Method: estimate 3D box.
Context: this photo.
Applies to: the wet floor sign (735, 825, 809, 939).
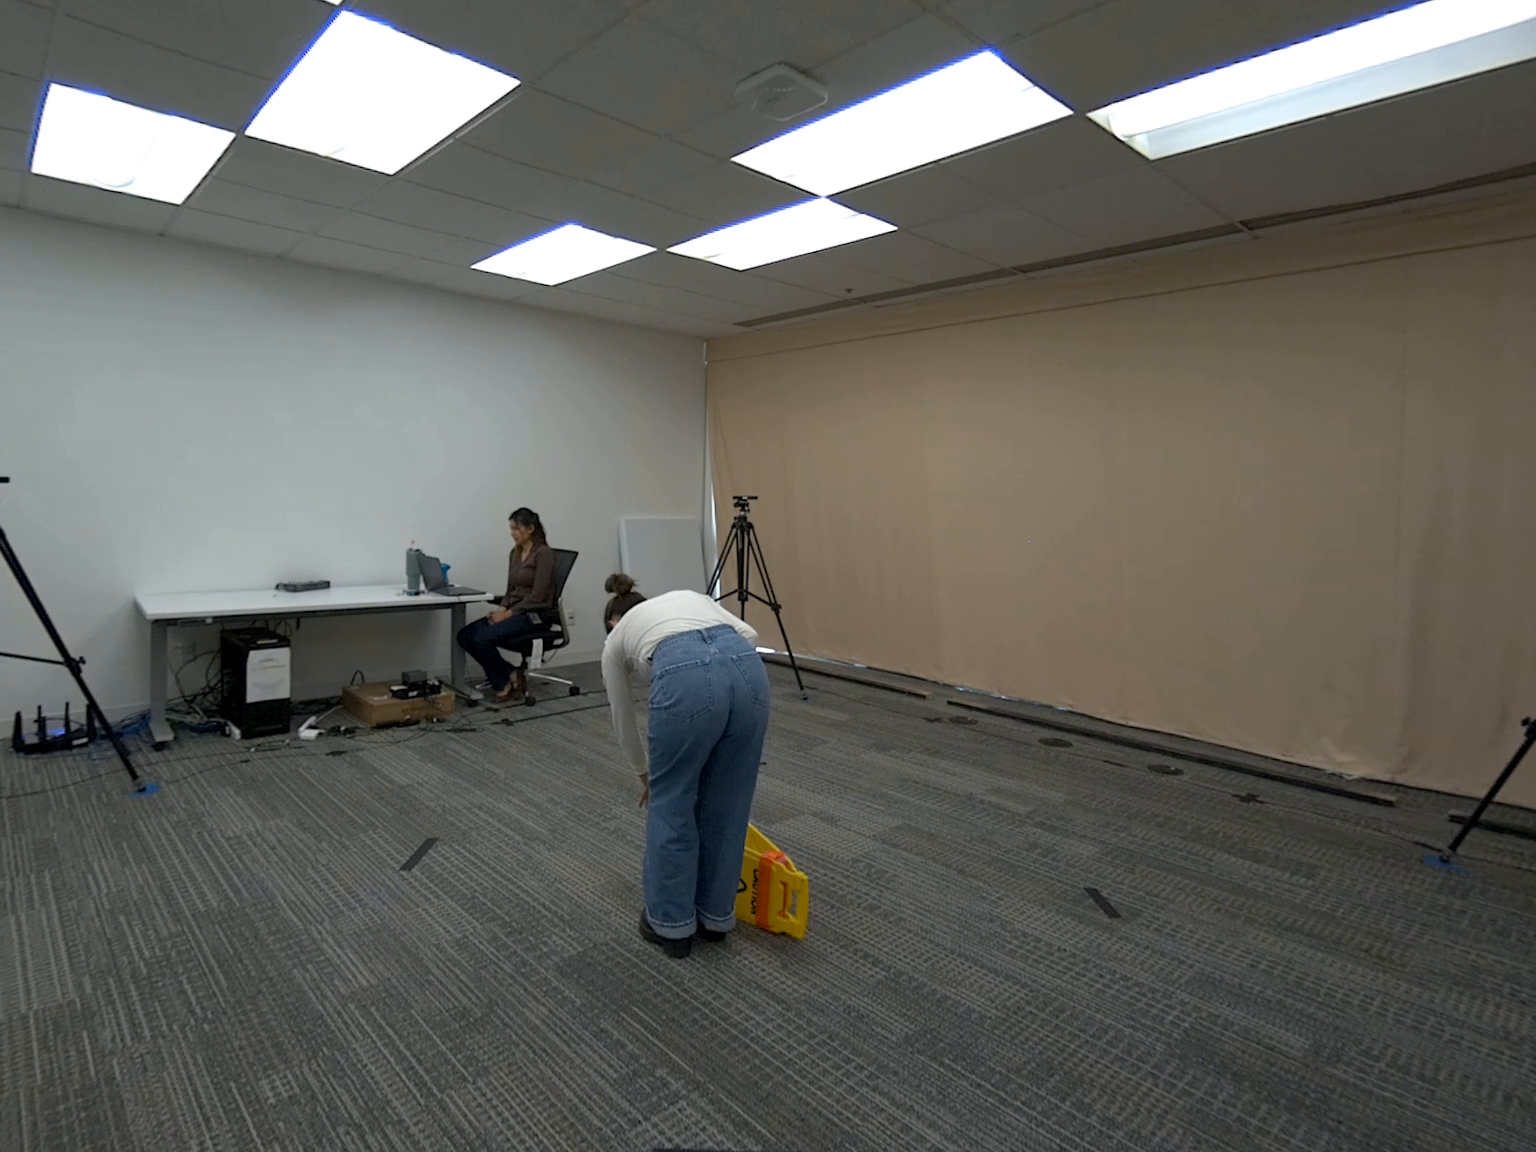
[{"bbox_3d":[-0.106,0.998,2.856,0.283,0.281,0.663,-2,7,-41],"label":"wet floor sign"}]
